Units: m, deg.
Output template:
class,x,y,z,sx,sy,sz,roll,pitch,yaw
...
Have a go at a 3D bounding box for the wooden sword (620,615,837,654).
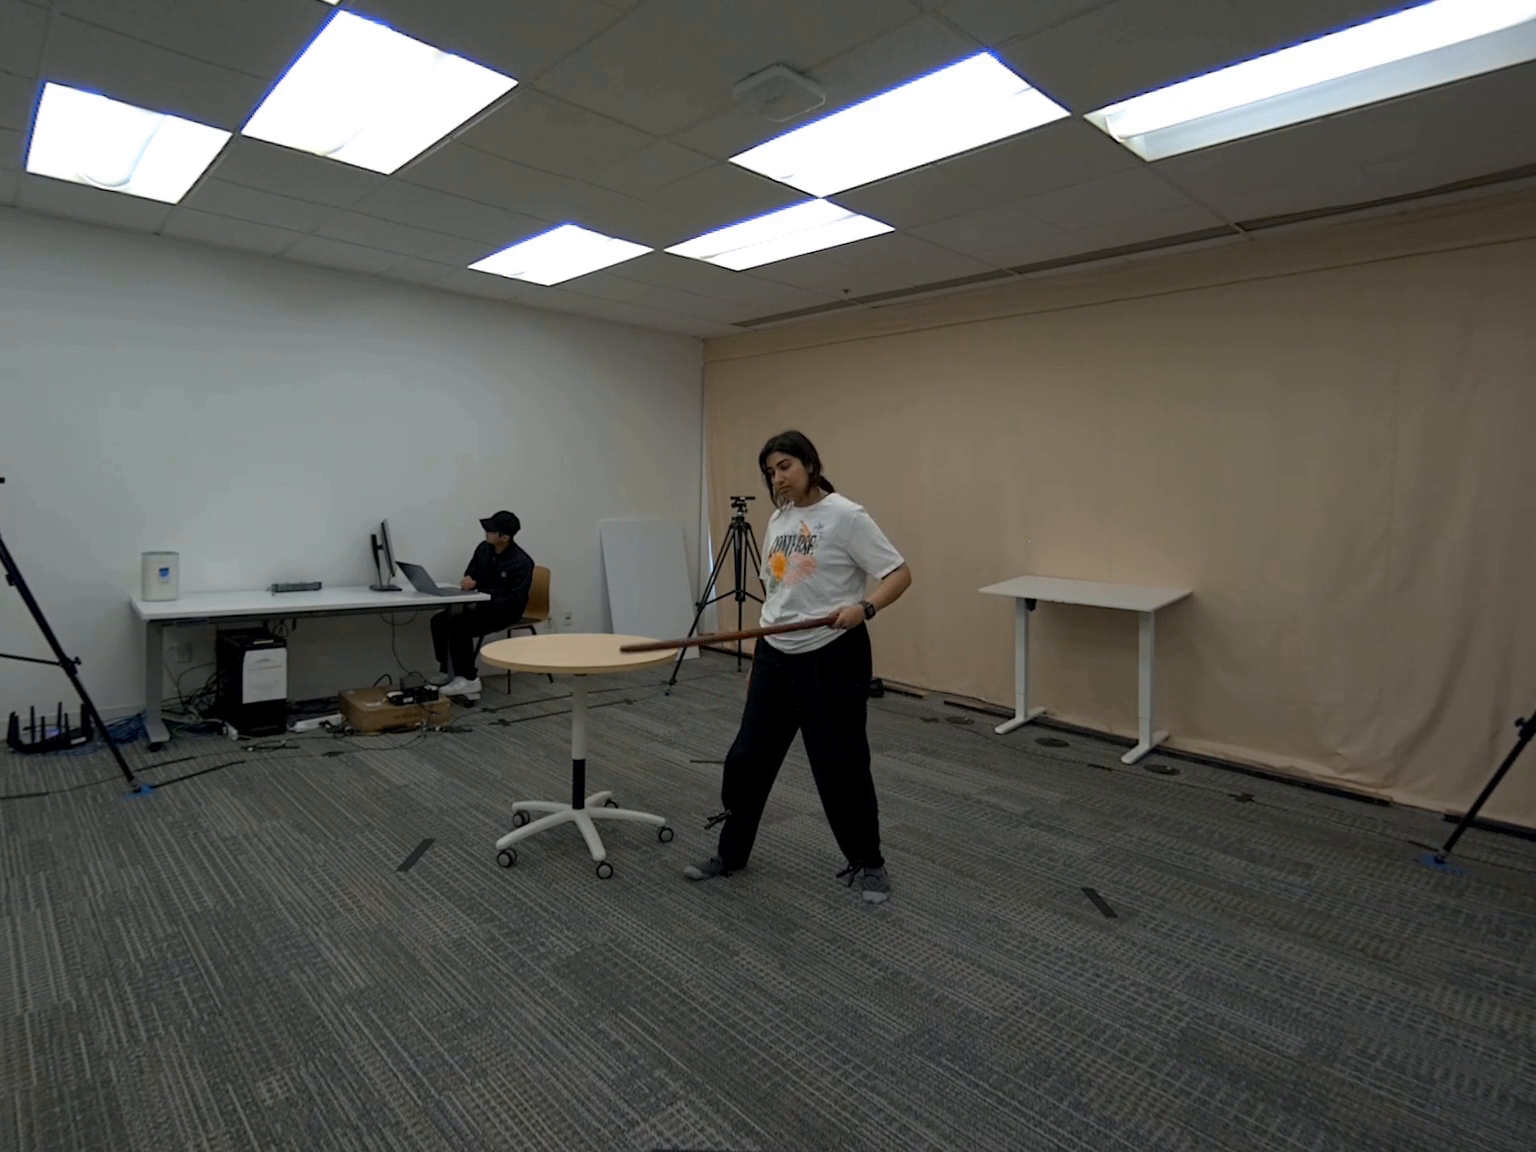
class,x,y,z,sx,sy,sz,roll,pitch,yaw
wooden sword,-0.011,0.164,2.426,0.052,0.024,1.001,-1,1,40
